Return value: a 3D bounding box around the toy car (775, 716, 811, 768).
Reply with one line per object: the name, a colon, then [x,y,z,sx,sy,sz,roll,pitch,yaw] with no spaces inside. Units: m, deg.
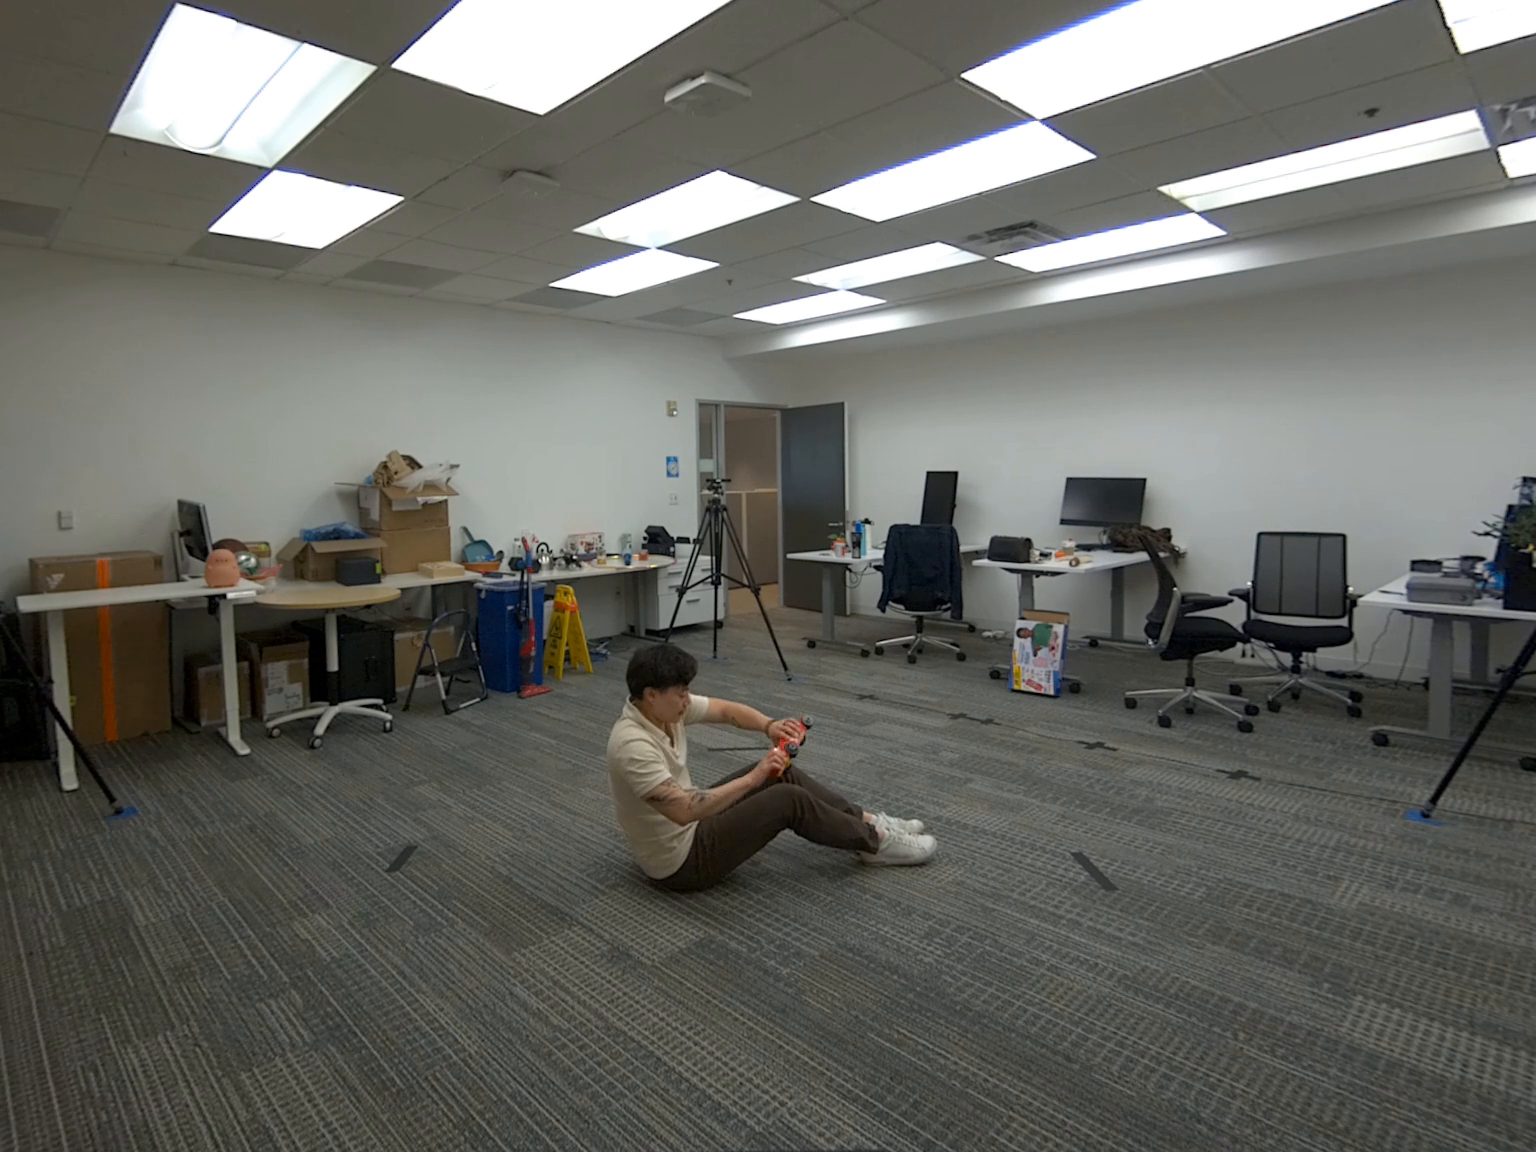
toy car: [0.075,0.574,2.887,0.085,0.128,0.252,33,38,17]
